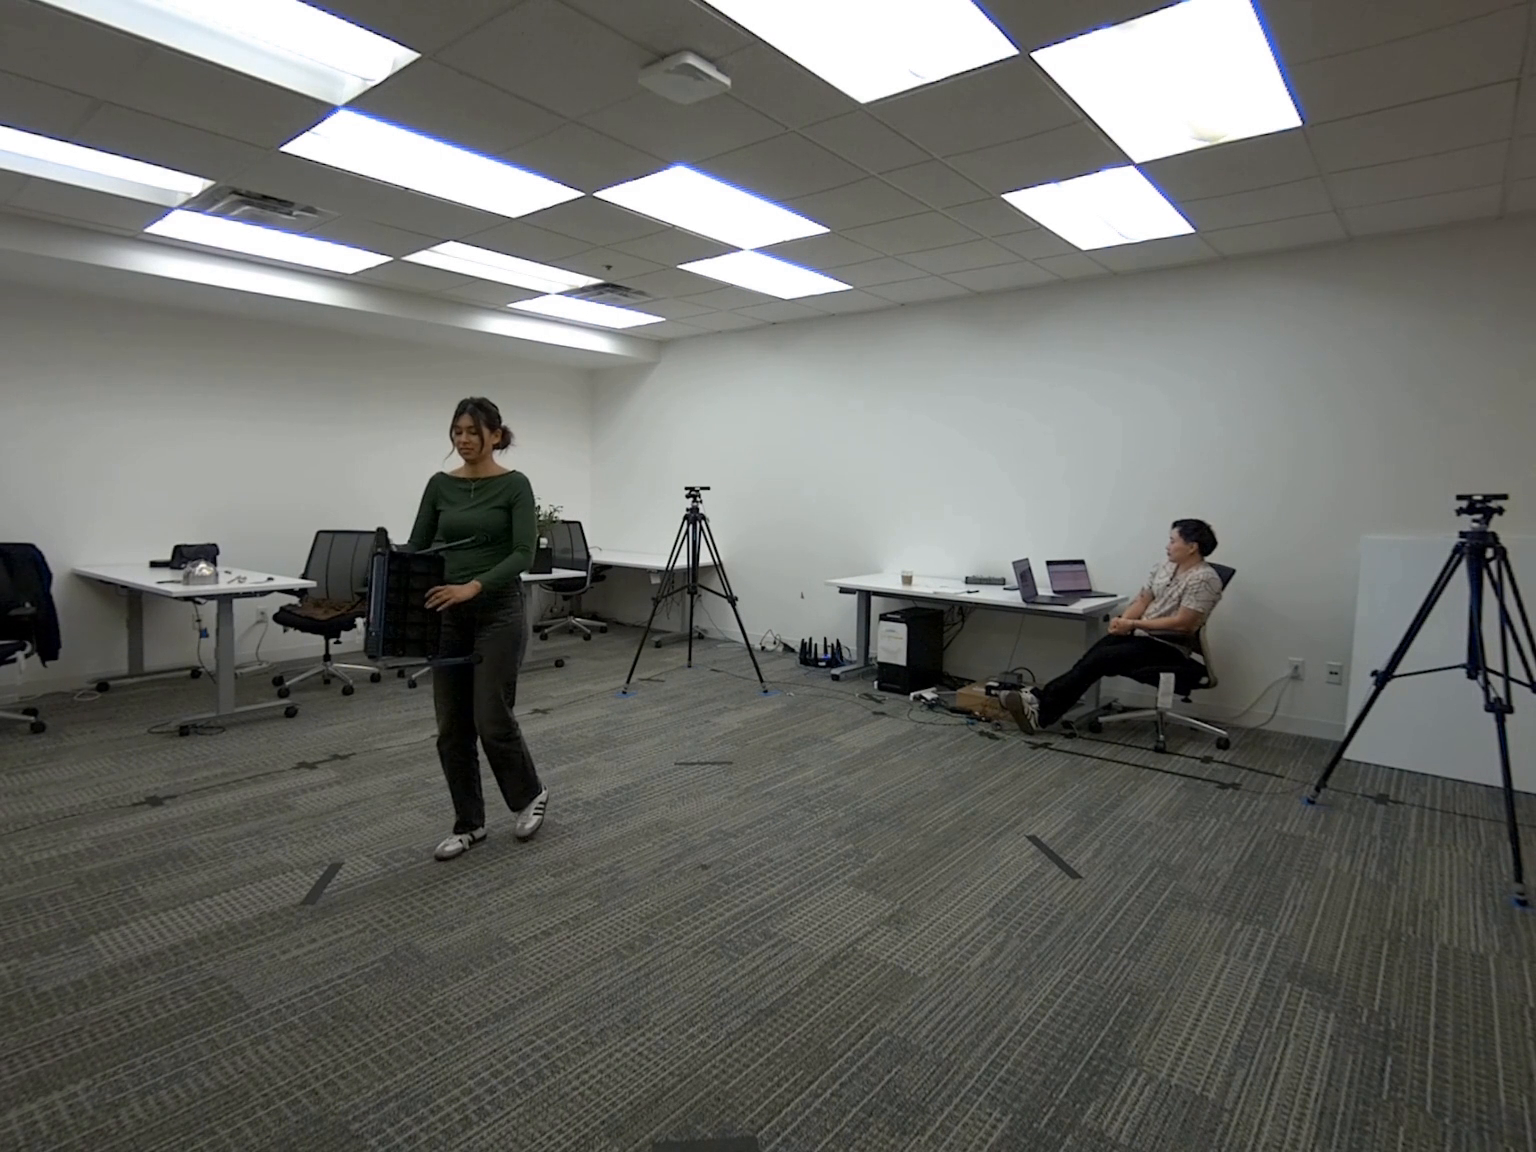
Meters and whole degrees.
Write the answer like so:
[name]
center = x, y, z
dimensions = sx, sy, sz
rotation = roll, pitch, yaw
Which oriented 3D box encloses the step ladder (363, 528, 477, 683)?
[step ladder]
center = -1.246, 0.099, 2.935
dimensions = 0.339, 0.436, 0.617
rotation = 7, -14, -32
